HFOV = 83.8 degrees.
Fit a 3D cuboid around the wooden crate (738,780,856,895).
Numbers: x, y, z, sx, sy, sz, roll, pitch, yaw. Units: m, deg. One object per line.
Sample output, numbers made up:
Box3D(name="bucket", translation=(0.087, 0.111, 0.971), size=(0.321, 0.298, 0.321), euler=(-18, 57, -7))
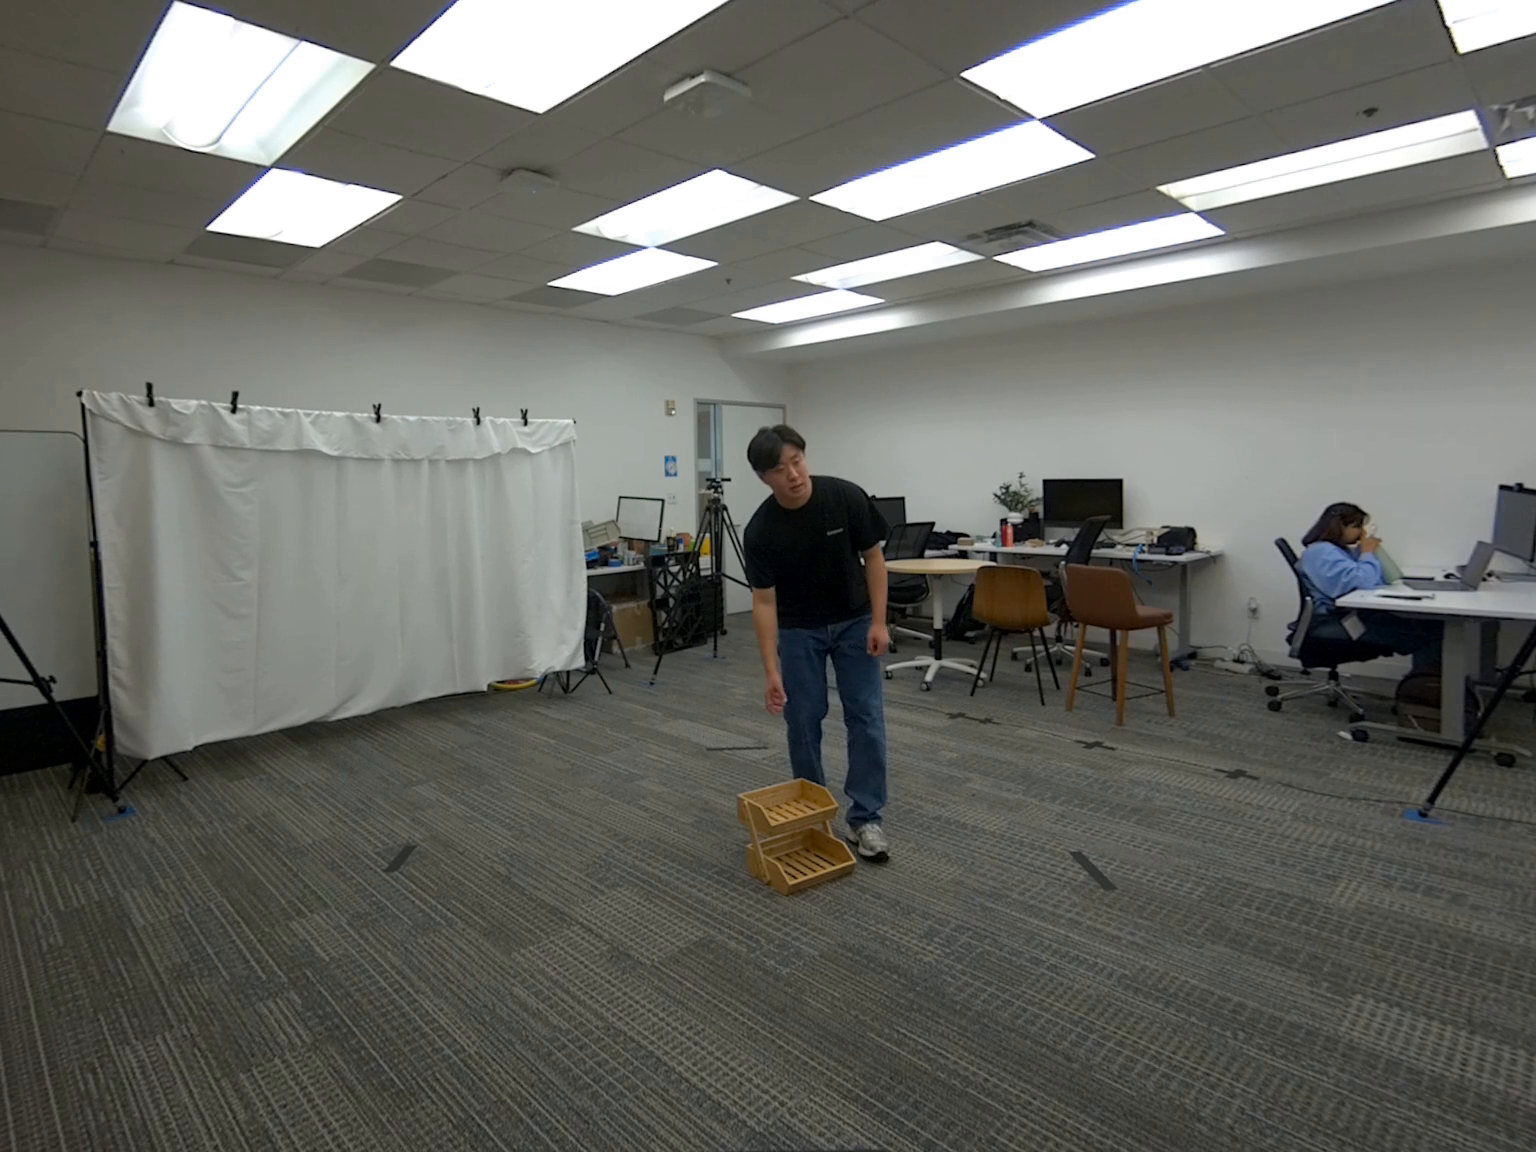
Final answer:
Box3D(name="wooden crate", translation=(0.104, 0.914, 3.034), size=(0.316, 0.272, 0.311), euler=(-4, 5, -35))
